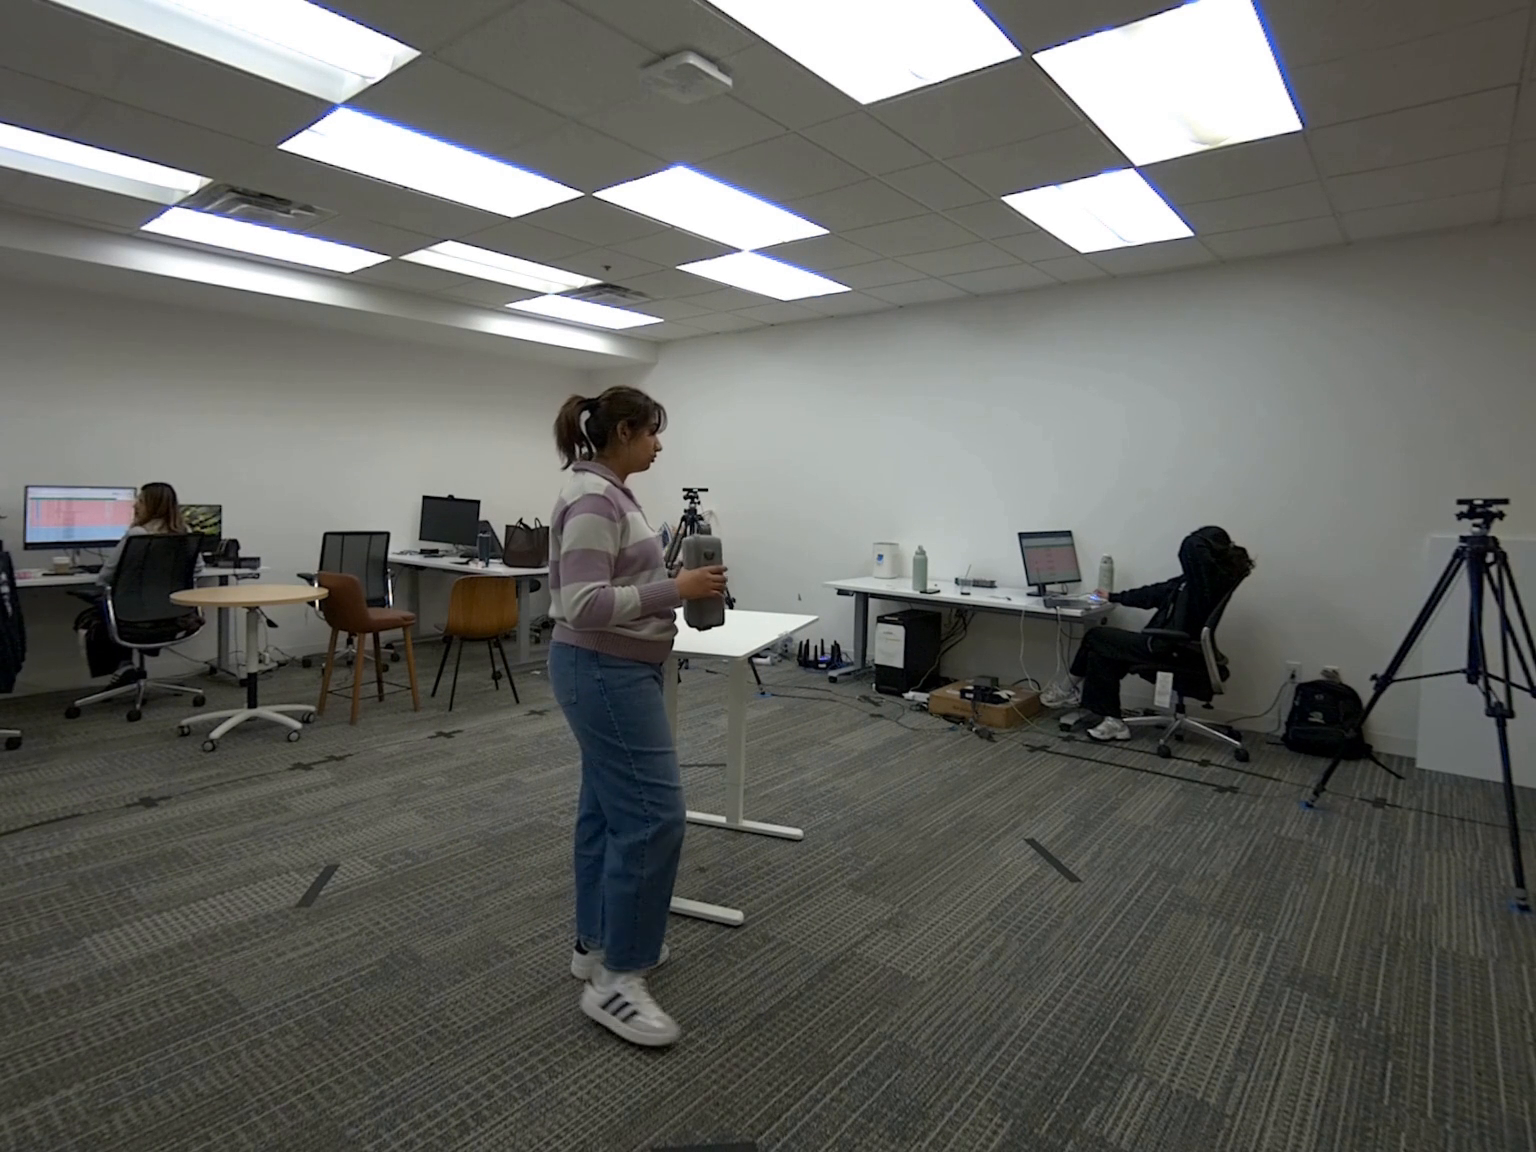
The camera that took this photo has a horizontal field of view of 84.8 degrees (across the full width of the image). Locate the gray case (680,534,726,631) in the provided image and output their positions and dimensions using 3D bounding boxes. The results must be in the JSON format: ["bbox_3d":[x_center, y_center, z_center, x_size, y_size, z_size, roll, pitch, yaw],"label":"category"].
[{"bbox_3d":[-0.189,0.014,2.371,0.103,0.260,0.259,0,2,-8],"label":"gray case"}]
